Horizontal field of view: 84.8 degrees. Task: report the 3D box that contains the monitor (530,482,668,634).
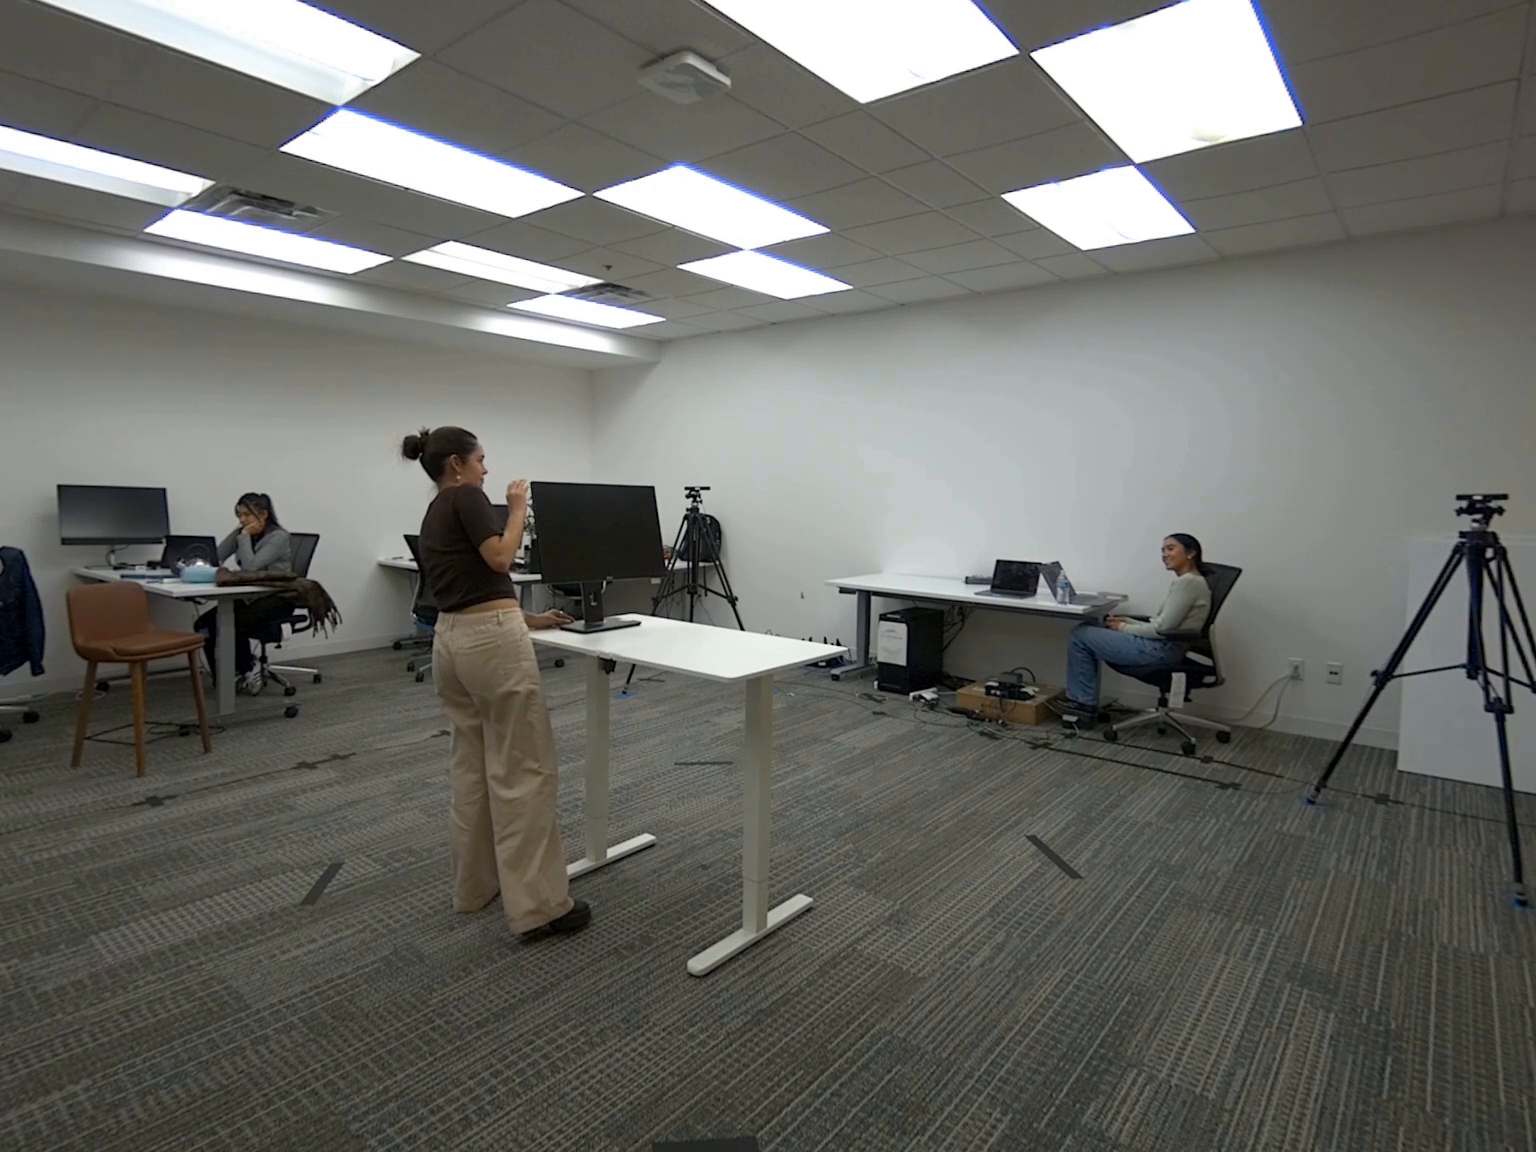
[{"bbox_3d":[-0.635,-0.067,3.044,0.193,0.522,0.523,1,3,42],"label":"monitor"}]
